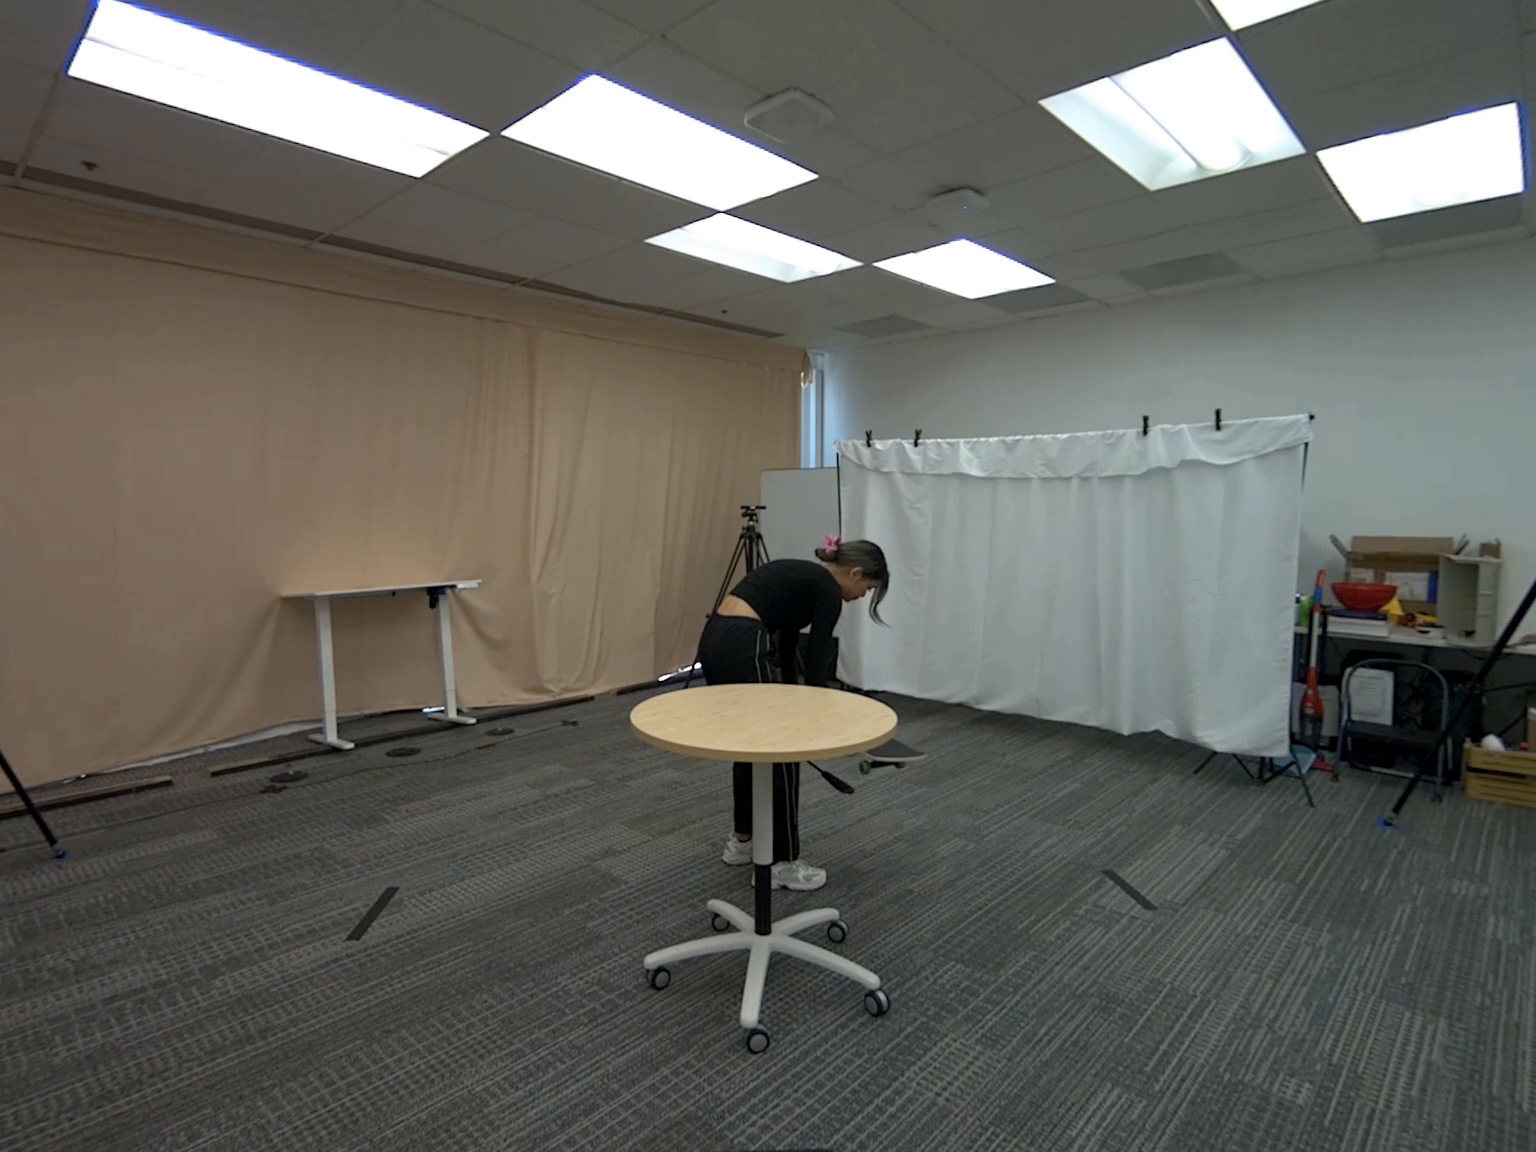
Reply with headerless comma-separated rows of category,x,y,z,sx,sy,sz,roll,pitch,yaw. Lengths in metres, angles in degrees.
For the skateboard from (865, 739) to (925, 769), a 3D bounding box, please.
skateboard,0.334,0.640,3.259,0.189,0.110,0.807,-5,8,-26
